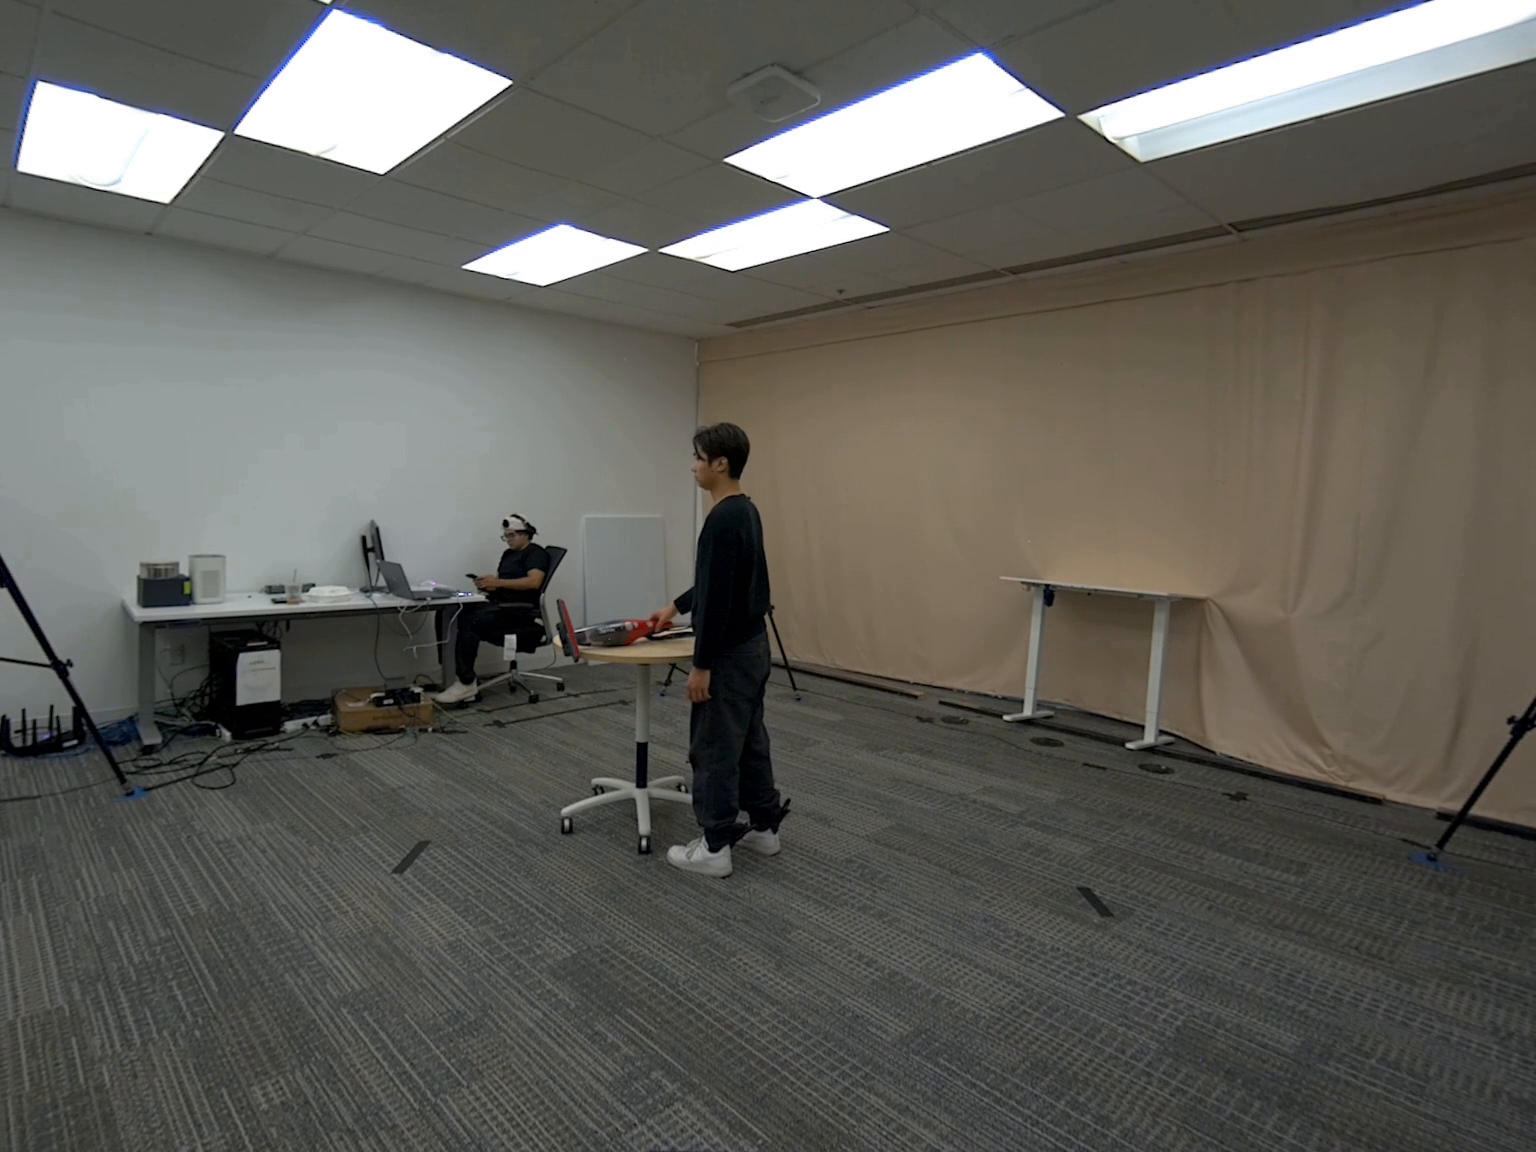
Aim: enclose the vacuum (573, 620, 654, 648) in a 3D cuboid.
[{"bbox_3d":[-0.432,0.233,3.603,1.024,0.258,0.144,1,-31,-47],"label":"vacuum"}]
